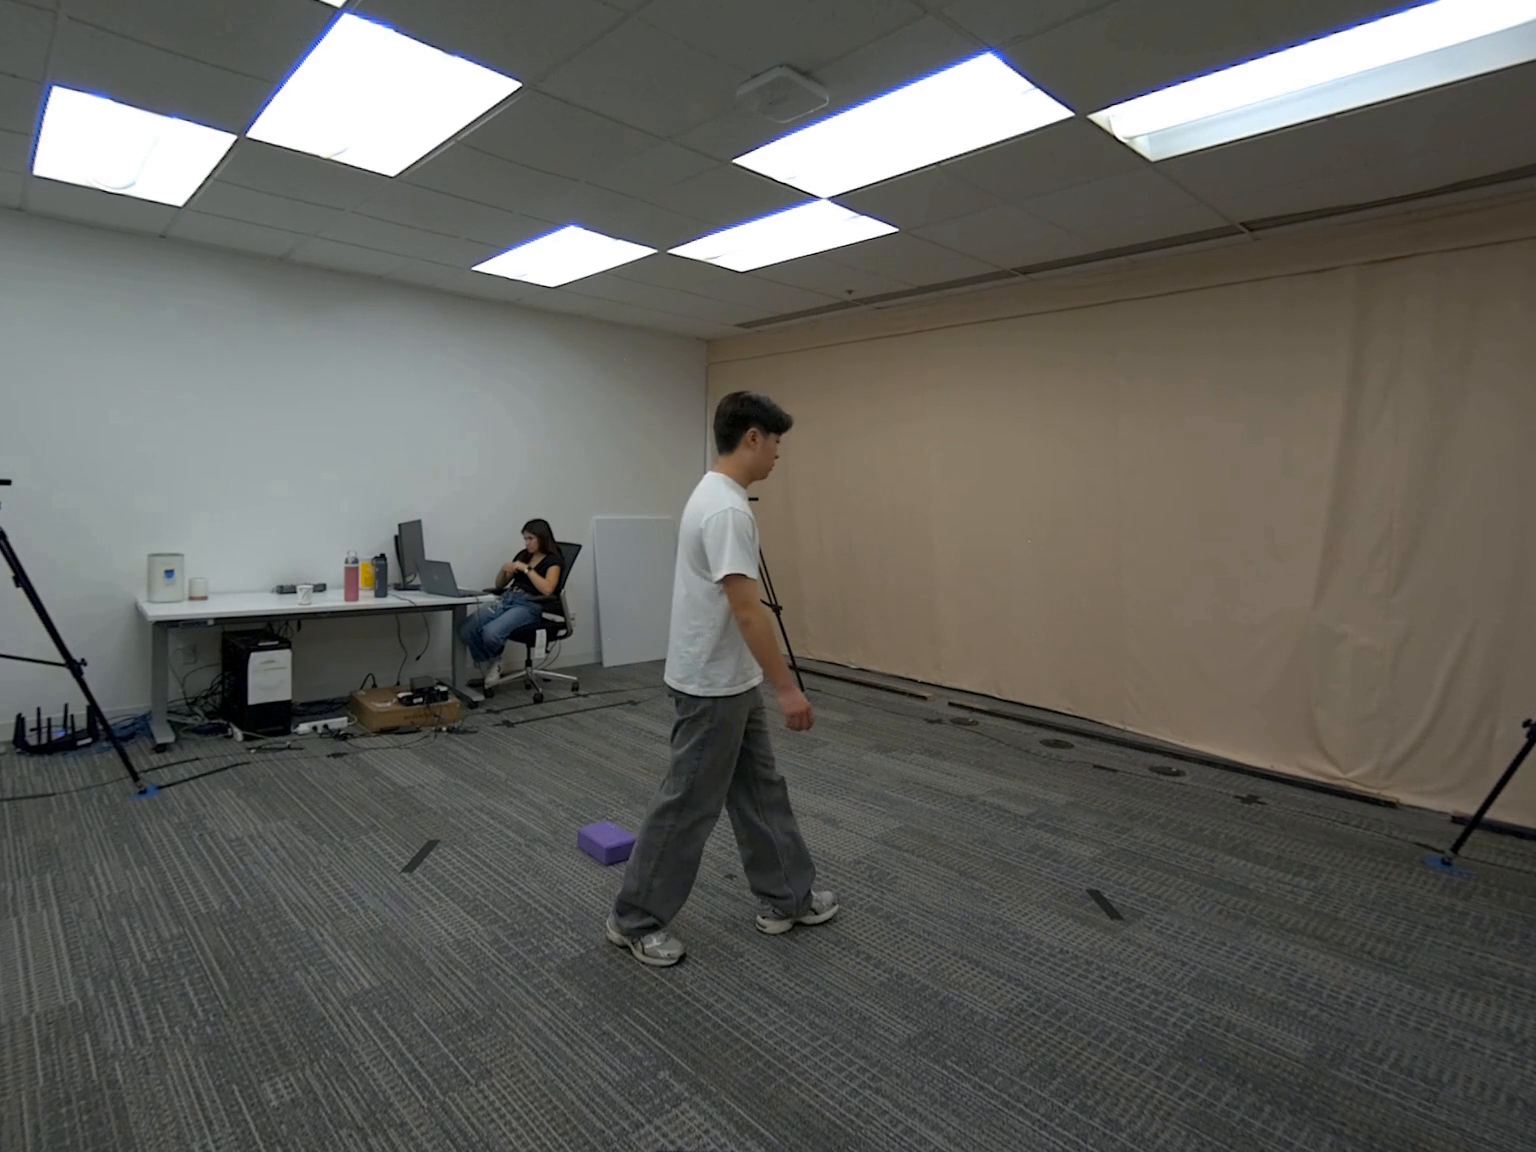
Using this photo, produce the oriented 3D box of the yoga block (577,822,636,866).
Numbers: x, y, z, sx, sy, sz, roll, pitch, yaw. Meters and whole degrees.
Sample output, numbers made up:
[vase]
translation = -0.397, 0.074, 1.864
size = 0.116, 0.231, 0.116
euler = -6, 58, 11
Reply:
[yoga block]
translation = -0.636, 1.045, 3.284
size = 0.145, 0.076, 0.235
euler = -3, 6, -41
